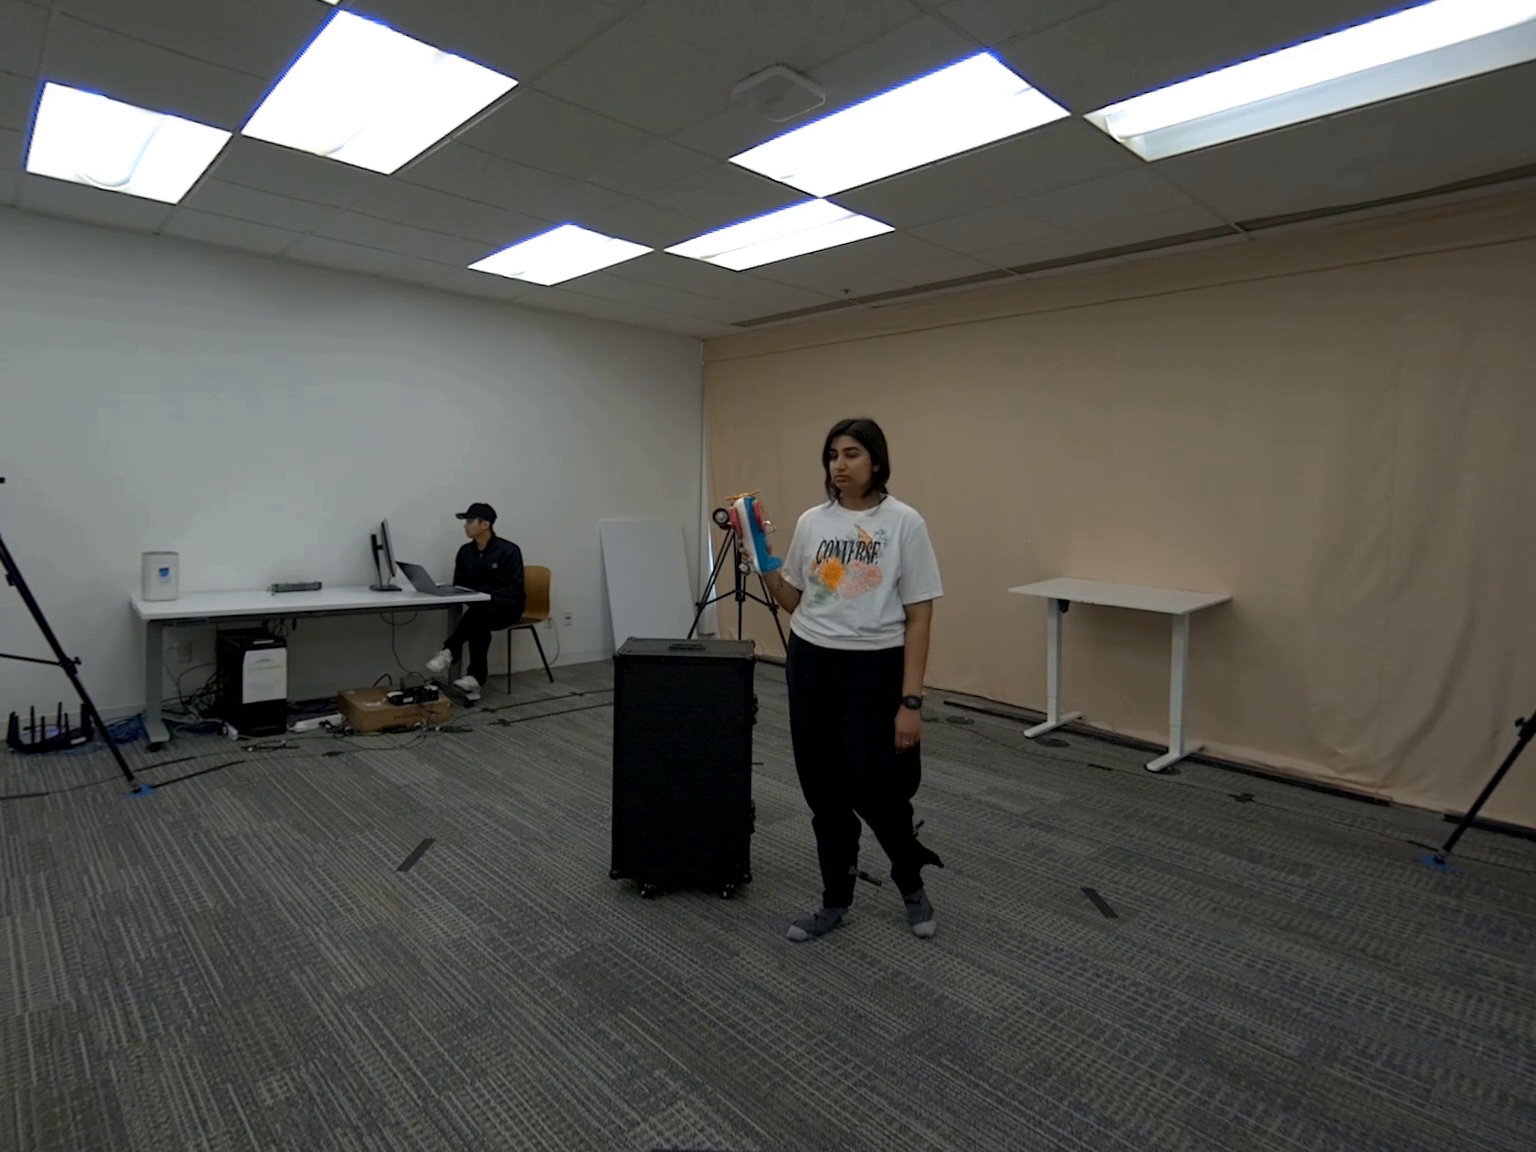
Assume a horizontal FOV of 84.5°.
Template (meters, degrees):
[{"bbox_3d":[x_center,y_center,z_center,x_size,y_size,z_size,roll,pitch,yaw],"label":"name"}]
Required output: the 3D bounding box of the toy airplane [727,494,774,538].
[{"bbox_3d":[-0.059,-0.128,2.660,0.156,0.254,0.255,-28,19,4],"label":"toy airplane"}]
